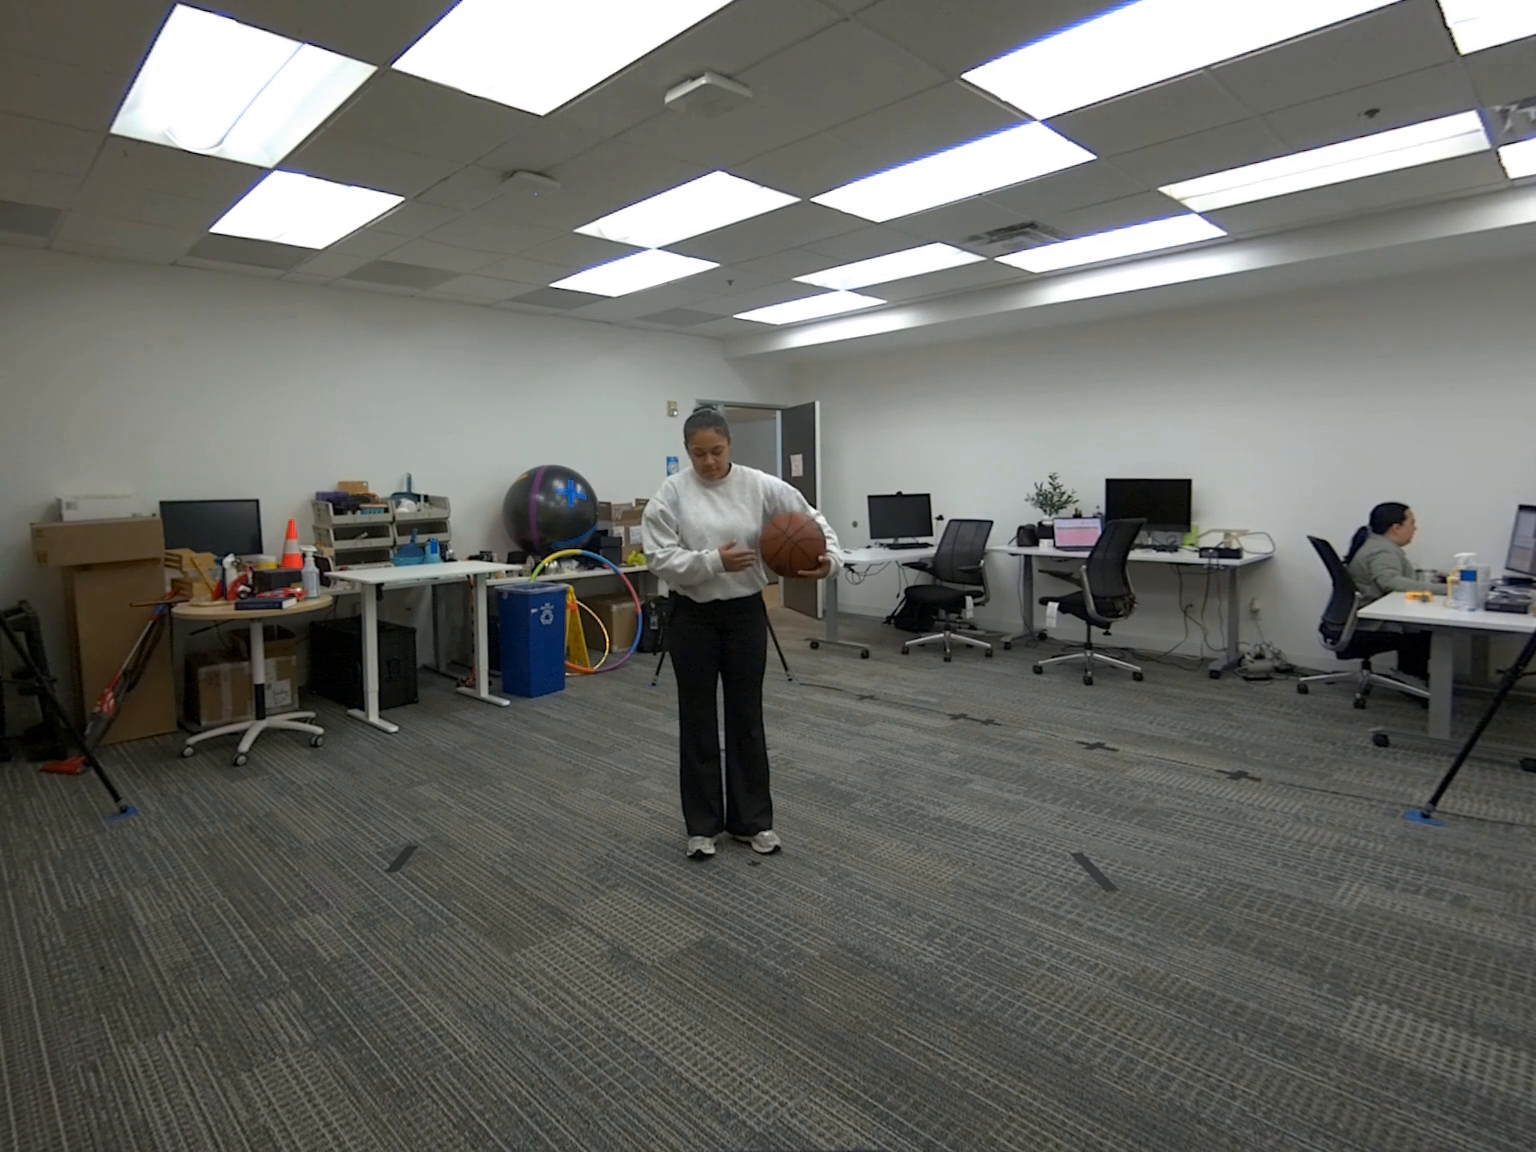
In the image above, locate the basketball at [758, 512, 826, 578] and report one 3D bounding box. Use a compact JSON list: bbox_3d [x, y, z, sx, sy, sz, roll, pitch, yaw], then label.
[{"bbox_3d":[0.071,-0.097,3.042,0.236,0.235,0.237,-1,5,-2],"label":"basketball"}]
